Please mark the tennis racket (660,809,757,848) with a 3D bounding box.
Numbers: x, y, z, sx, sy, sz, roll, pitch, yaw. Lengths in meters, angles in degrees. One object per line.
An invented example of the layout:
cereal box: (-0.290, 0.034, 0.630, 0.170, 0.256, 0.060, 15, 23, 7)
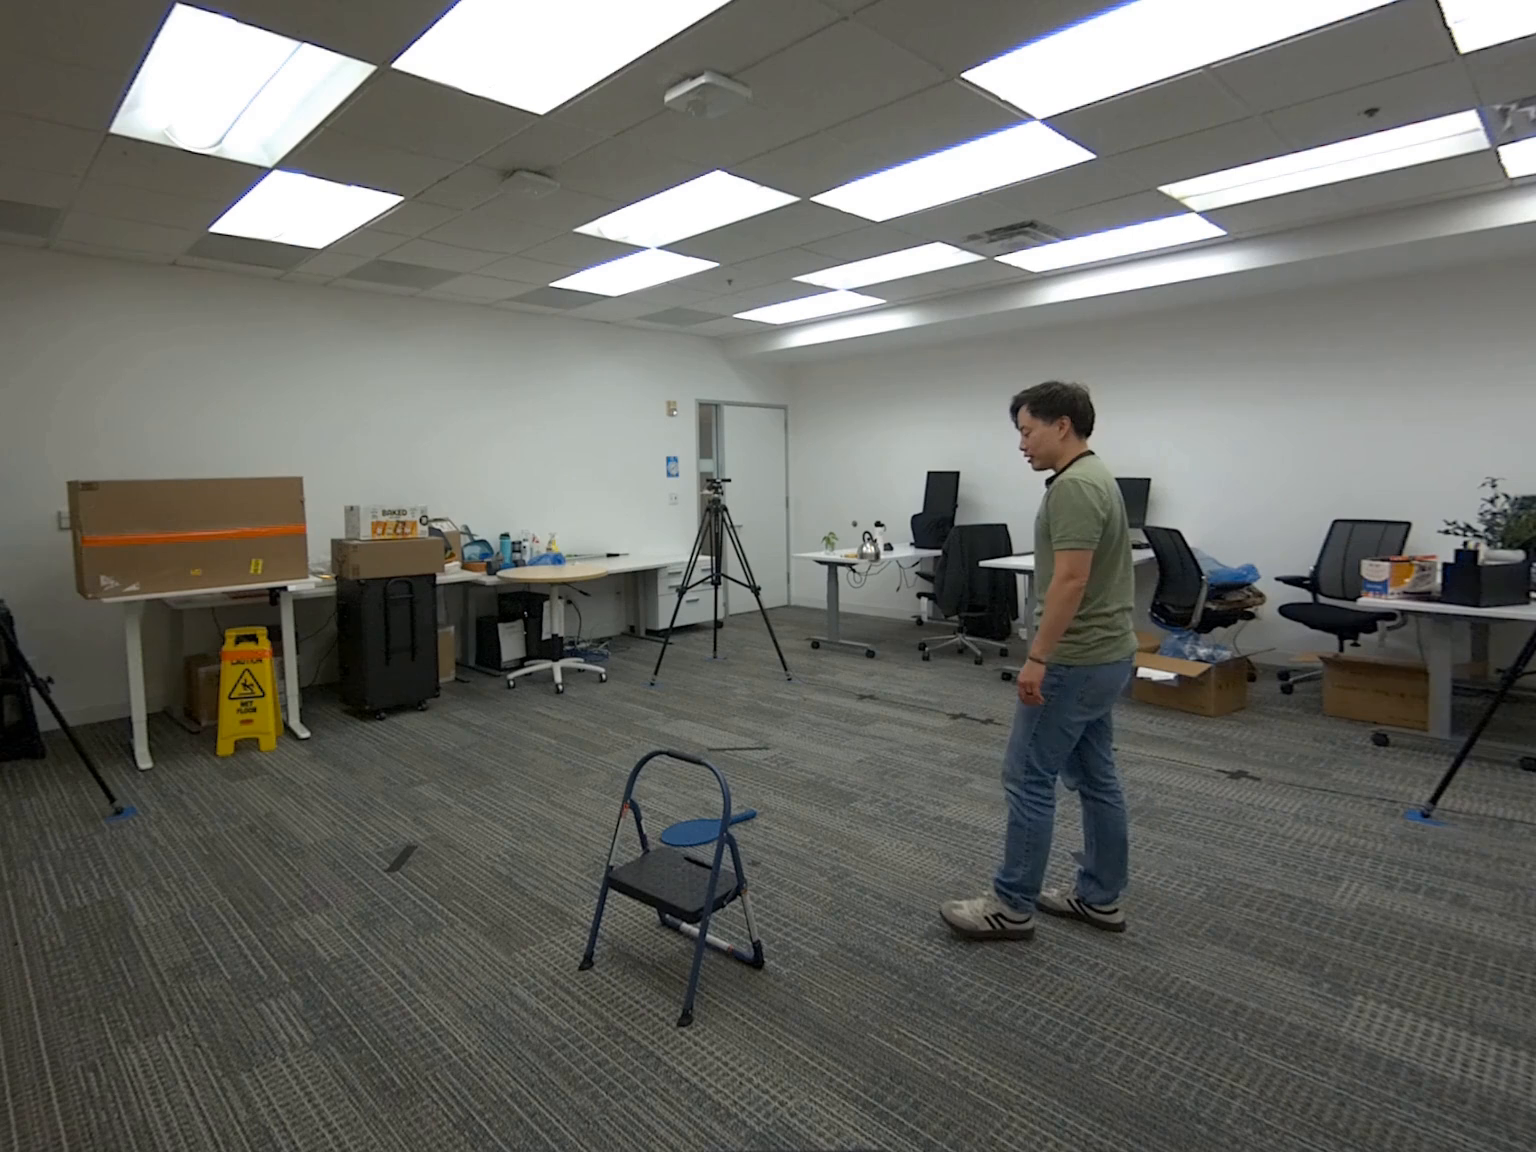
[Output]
tennis racket: (-0.230, 1.002, 3.411, 0.422, 0.031, 0.220, -7, 8, -35)
